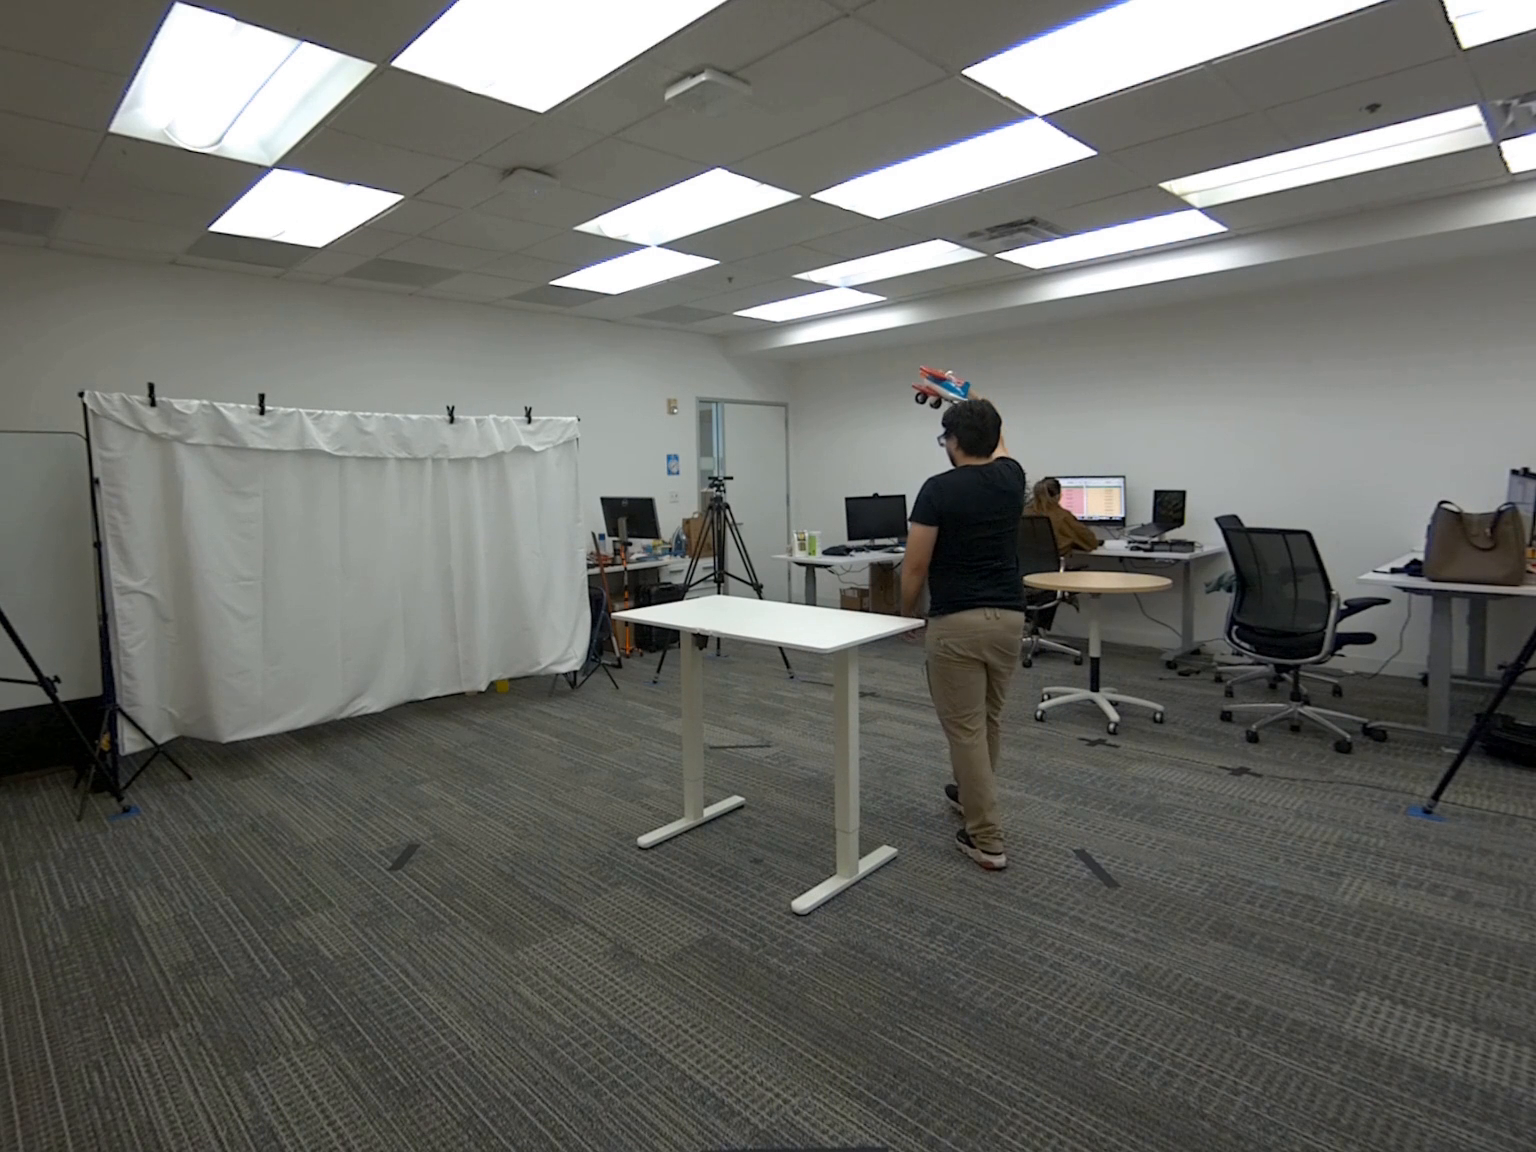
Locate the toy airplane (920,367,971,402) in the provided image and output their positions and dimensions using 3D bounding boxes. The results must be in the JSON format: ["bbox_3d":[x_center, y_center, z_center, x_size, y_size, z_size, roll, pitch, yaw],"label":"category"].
[{"bbox_3d":[0.767,-0.781,3.616,0.268,0.155,0.244,21,11,30],"label":"toy airplane"}]
